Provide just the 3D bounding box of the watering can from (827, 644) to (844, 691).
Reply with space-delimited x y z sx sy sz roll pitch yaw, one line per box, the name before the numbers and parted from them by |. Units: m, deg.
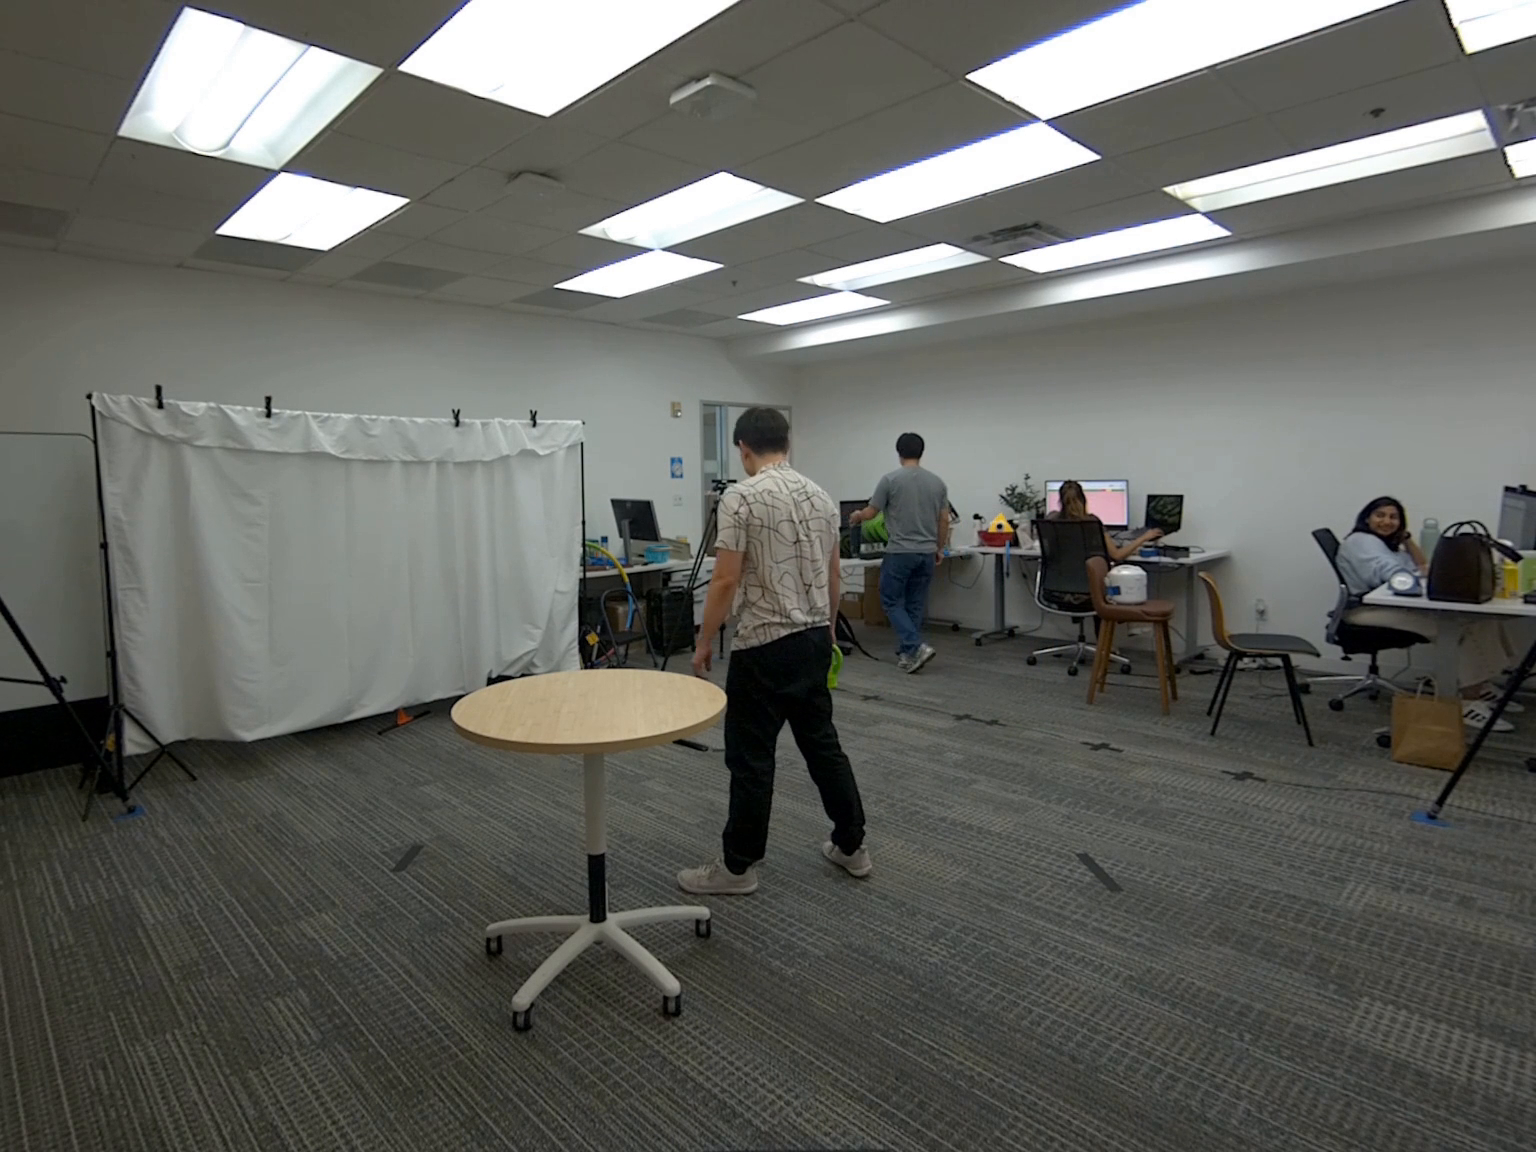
watering can | 0.166 0.344 3.272 0.286 0.177 0.095 -3 0 40
